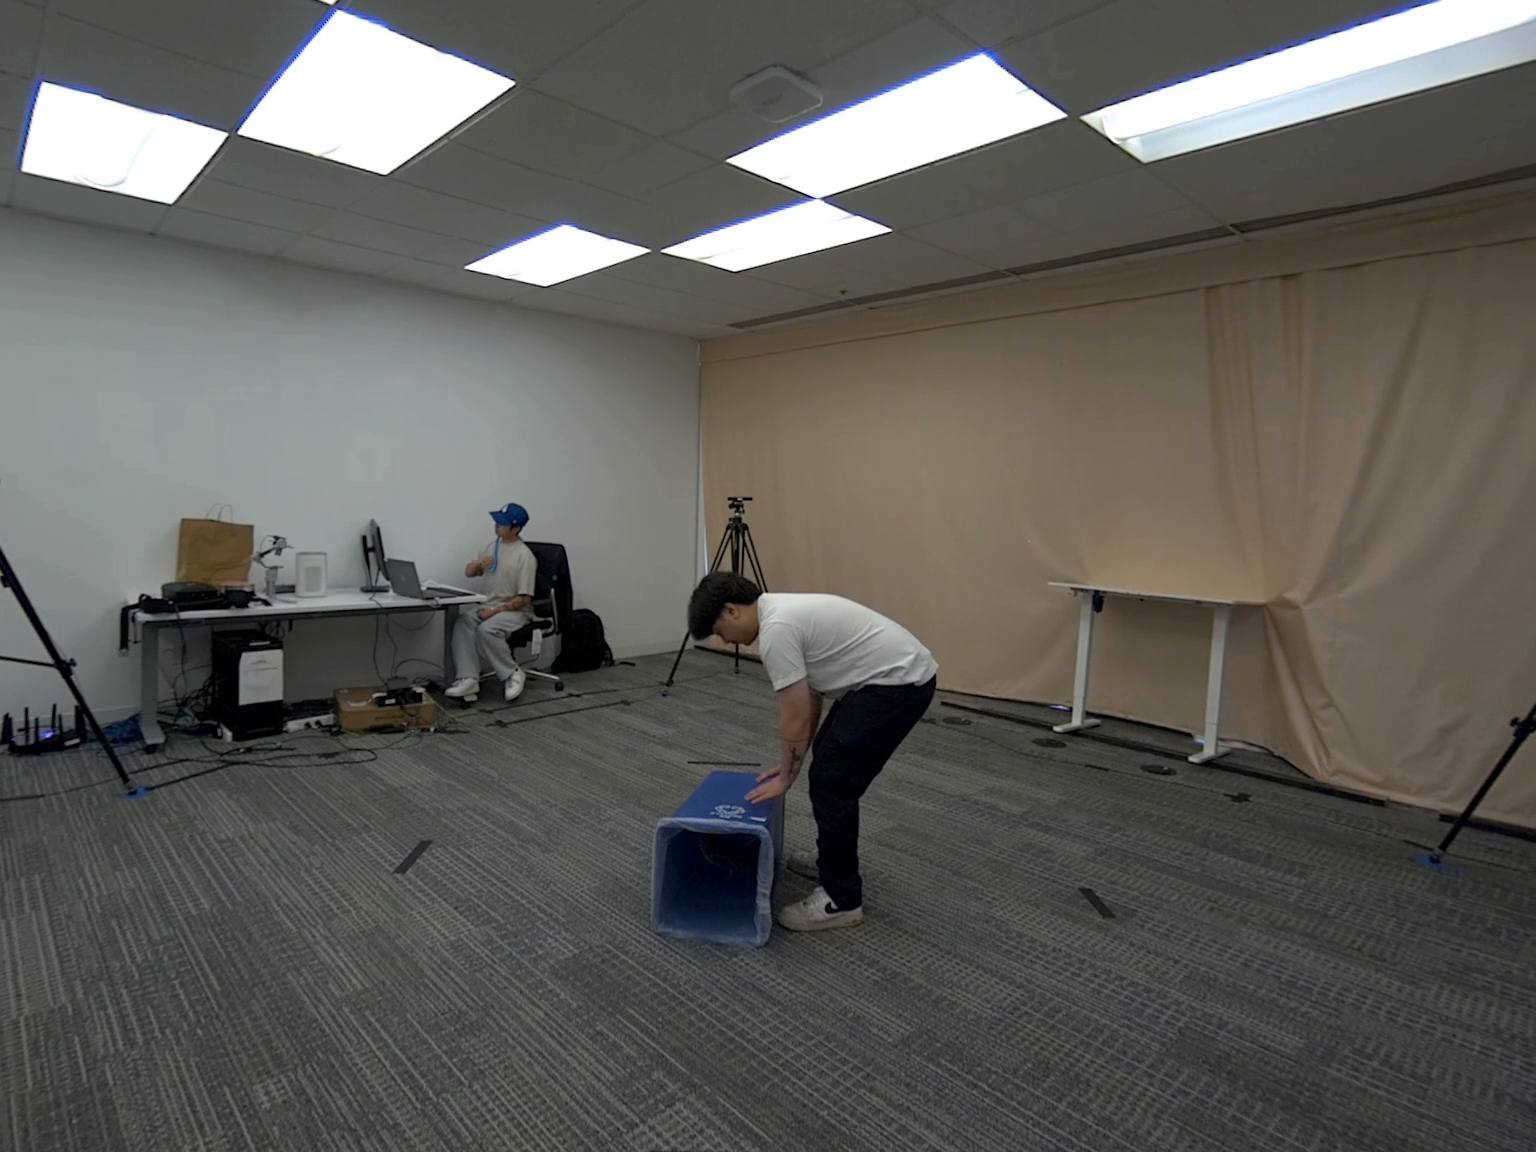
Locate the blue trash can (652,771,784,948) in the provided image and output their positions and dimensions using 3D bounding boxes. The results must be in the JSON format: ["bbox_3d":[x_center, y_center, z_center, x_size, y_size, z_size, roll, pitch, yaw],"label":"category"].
[{"bbox_3d":[-0.142,0.950,2.982,0.377,0.378,0.709,1,2,7],"label":"blue trash can"}]
